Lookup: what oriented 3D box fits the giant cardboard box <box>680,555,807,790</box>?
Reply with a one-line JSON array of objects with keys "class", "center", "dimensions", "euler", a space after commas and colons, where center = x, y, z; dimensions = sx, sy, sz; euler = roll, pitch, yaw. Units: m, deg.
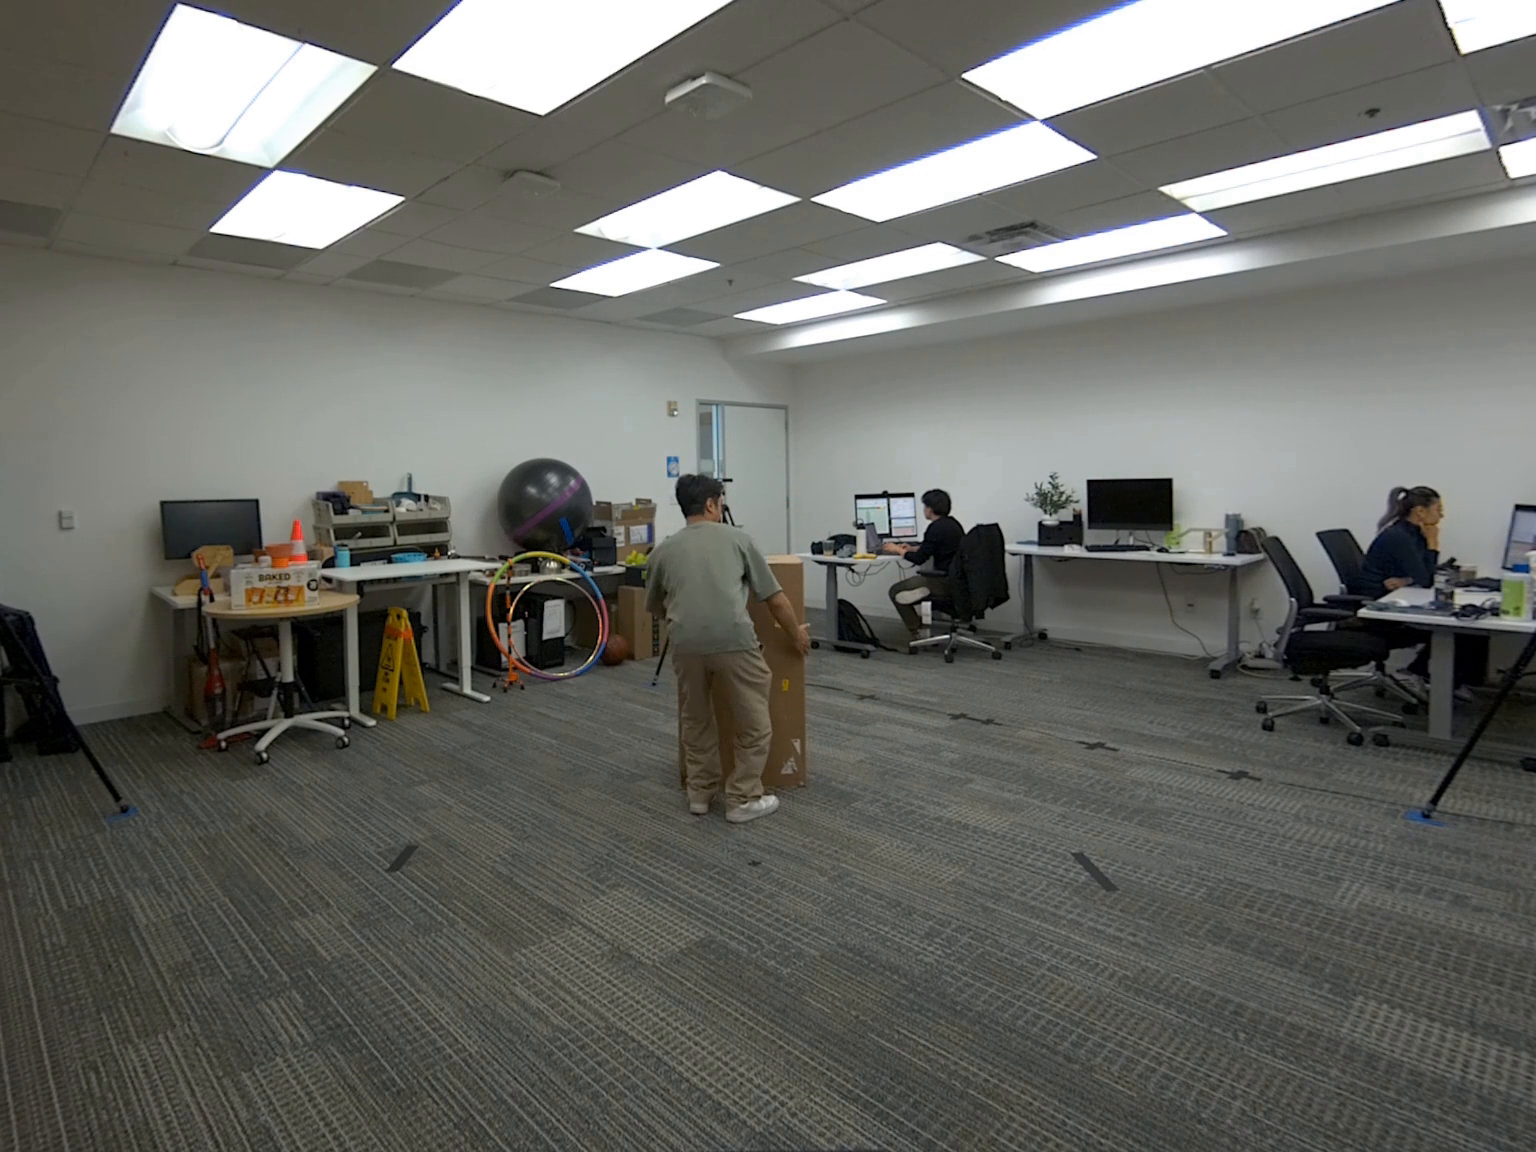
[{"class": "giant cardboard box", "center": [-0.130, 0.431, 4.051], "dimensions": [0.577, 1.022, 0.428], "euler": [-1, 4, -2]}]
